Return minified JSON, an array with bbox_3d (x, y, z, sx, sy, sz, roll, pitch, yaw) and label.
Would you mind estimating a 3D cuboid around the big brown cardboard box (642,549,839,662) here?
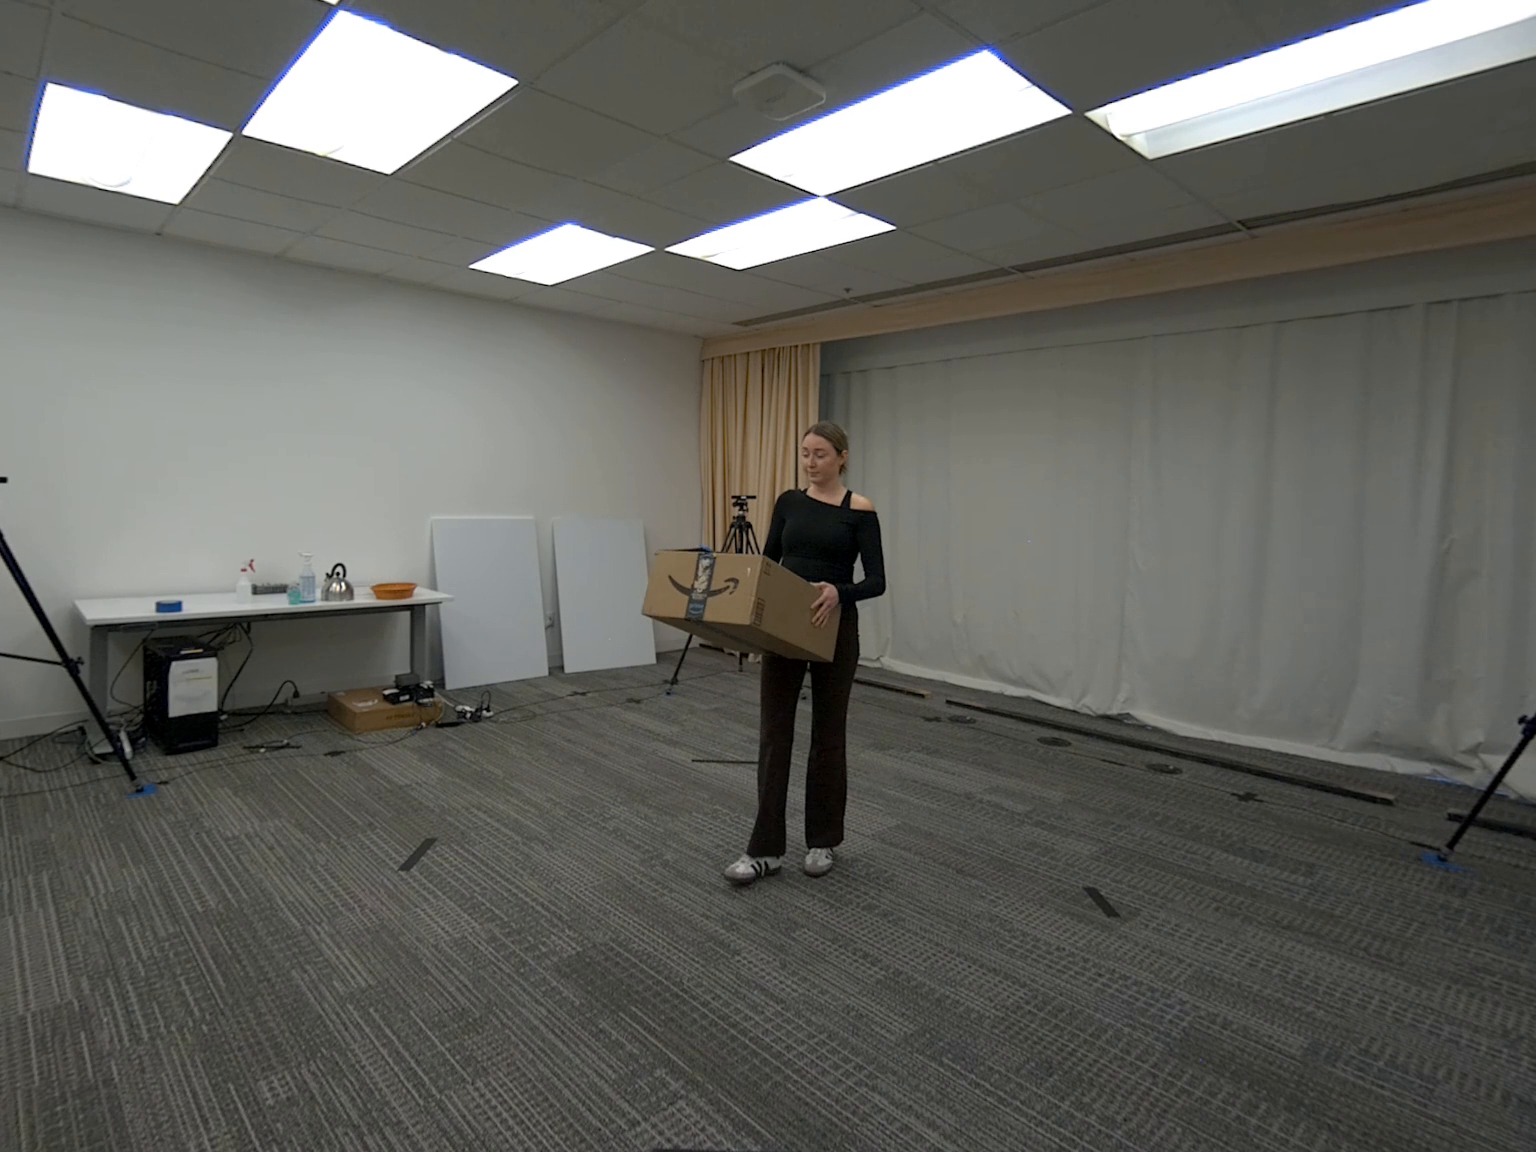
[{"bbox_3d":[-0.081,0.106,2.781,0.427,0.235,0.571,3,-15,32],"label":"big brown cardboard box"}]
